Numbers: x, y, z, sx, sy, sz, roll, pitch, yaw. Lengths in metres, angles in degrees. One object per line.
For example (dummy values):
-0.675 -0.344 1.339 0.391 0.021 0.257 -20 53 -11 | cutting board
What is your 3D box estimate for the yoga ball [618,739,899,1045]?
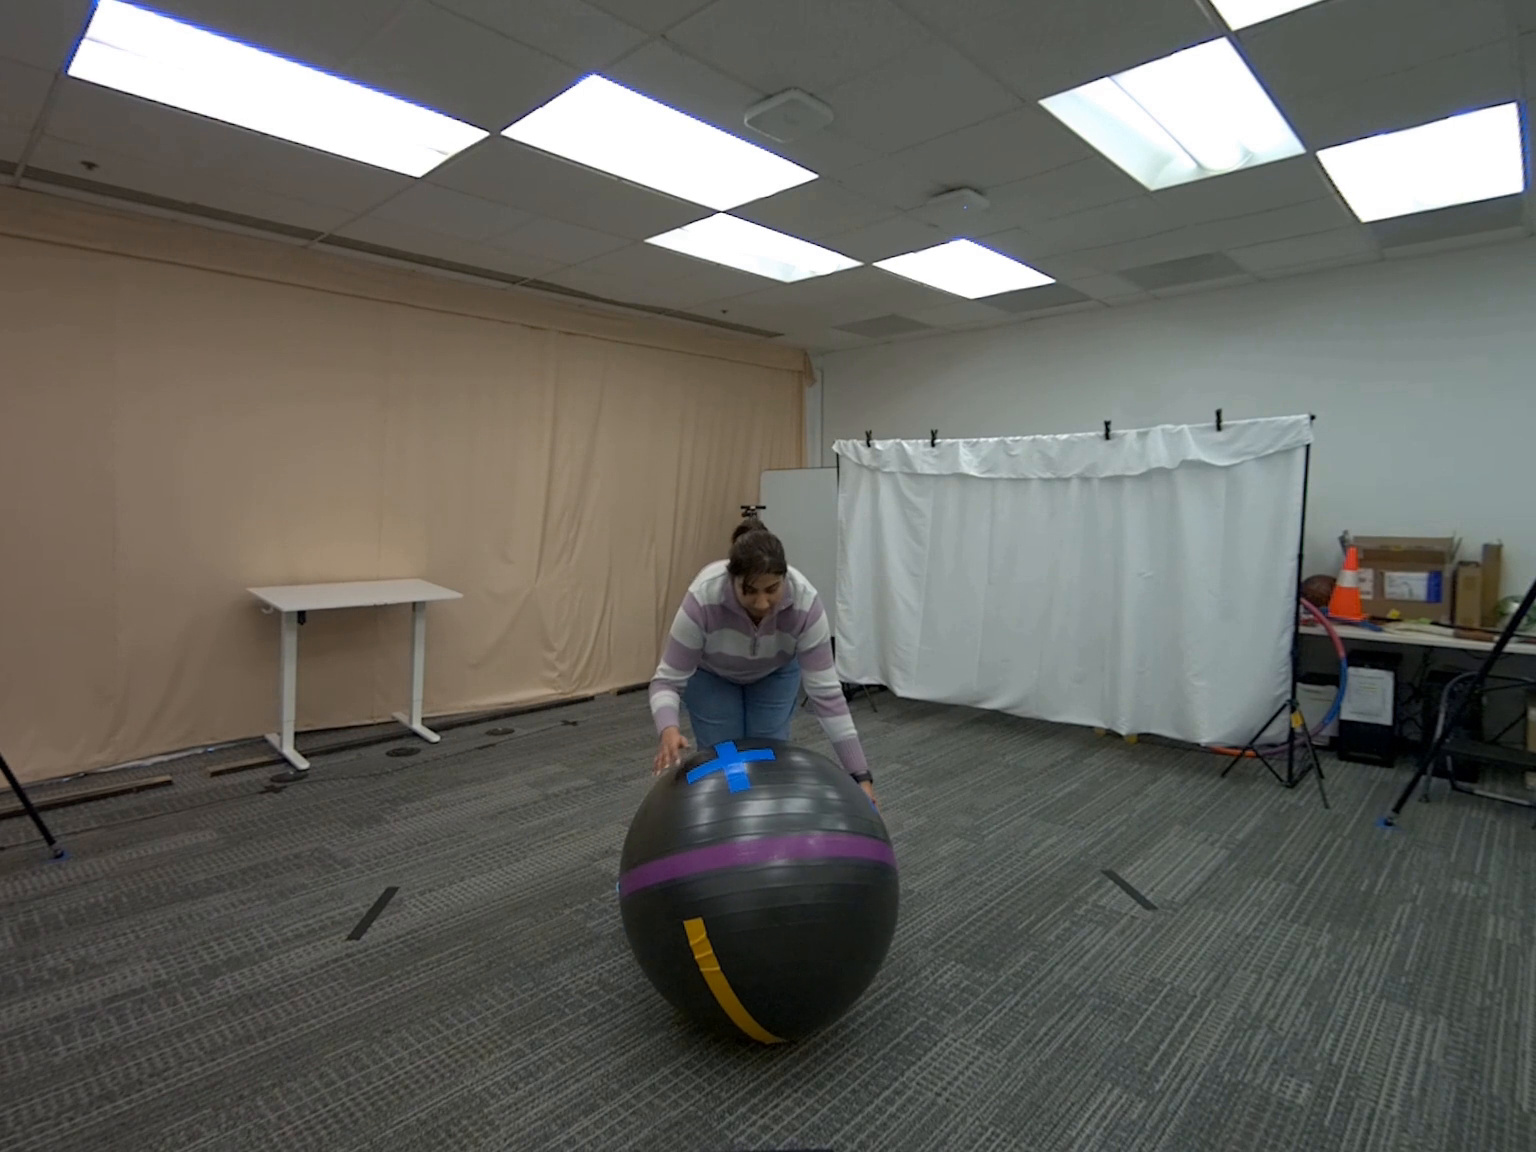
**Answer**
-0.033 0.835 2.287 0.757 0.756 0.760 0 4 -2 | yoga ball
